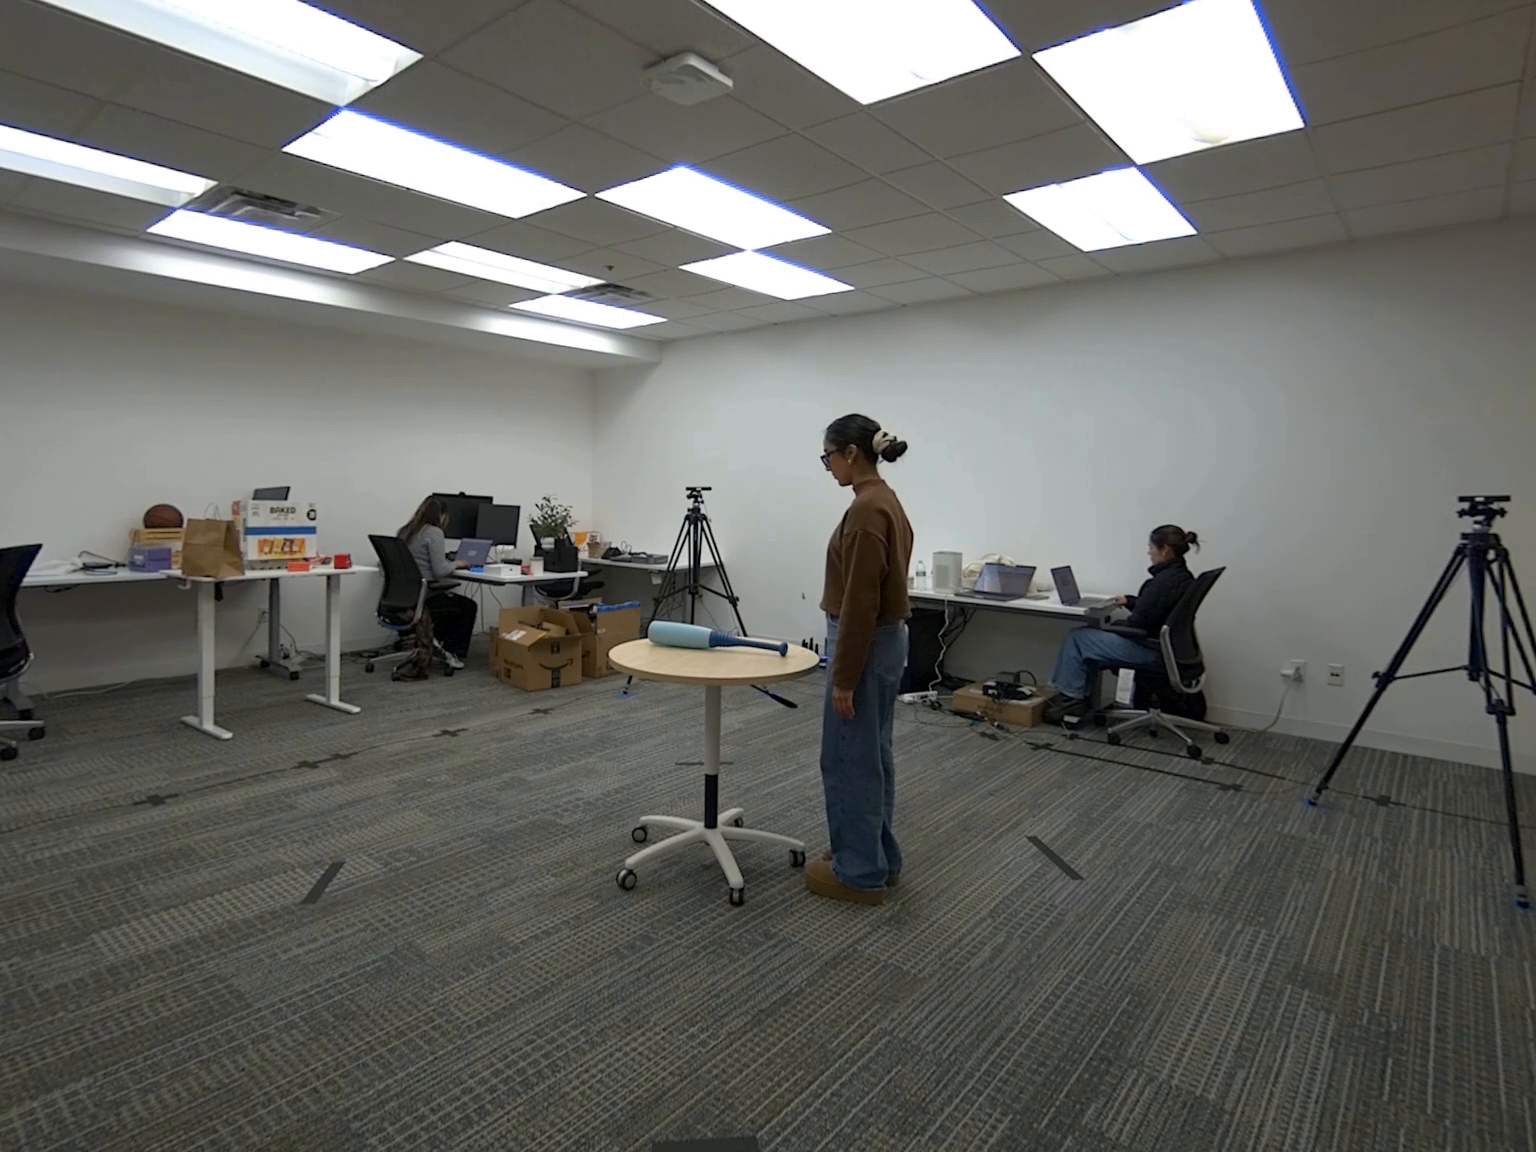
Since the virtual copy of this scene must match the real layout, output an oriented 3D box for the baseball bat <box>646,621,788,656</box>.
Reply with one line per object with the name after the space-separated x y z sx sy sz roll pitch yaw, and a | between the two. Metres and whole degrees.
-0.199 0.241 3.182 0.553 0.089 0.088 6 5 16 | baseball bat
